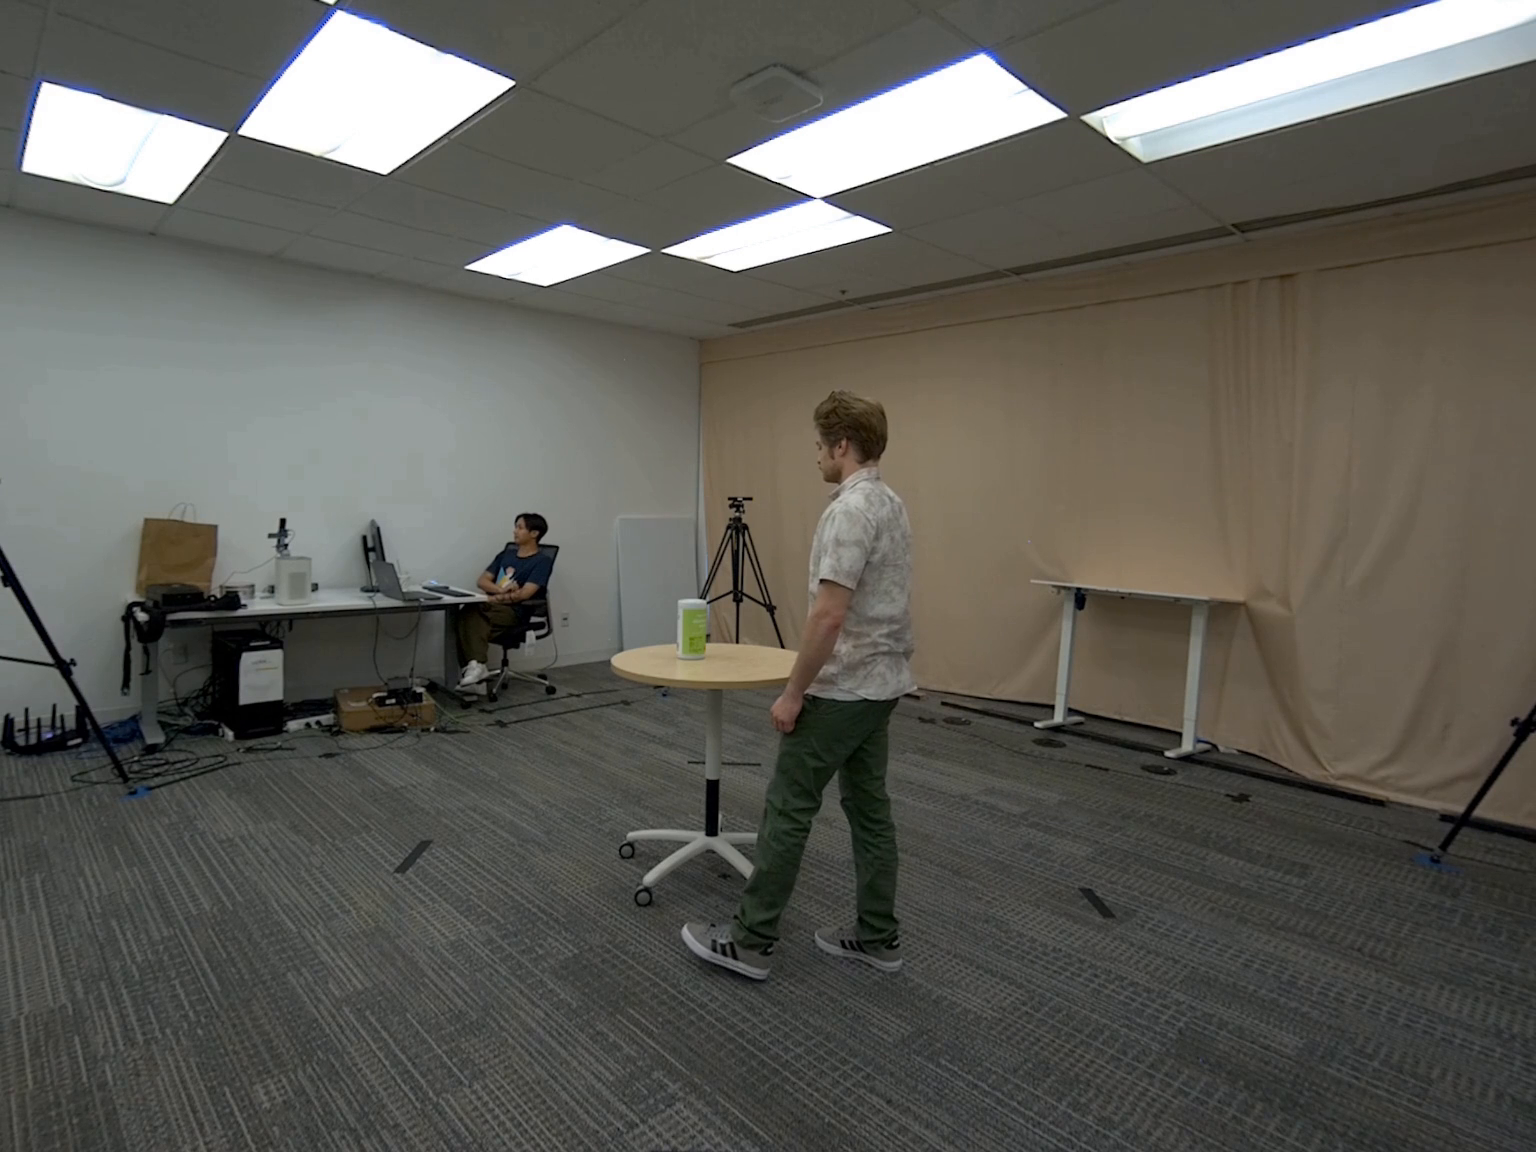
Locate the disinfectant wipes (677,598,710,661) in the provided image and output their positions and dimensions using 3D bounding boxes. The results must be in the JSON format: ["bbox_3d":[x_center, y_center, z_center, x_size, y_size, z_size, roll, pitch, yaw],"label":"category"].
[{"bbox_3d":[-0.295,0.200,3.137,0.118,0.217,0.118,2,4,-1],"label":"disinfectant wipes"}]
